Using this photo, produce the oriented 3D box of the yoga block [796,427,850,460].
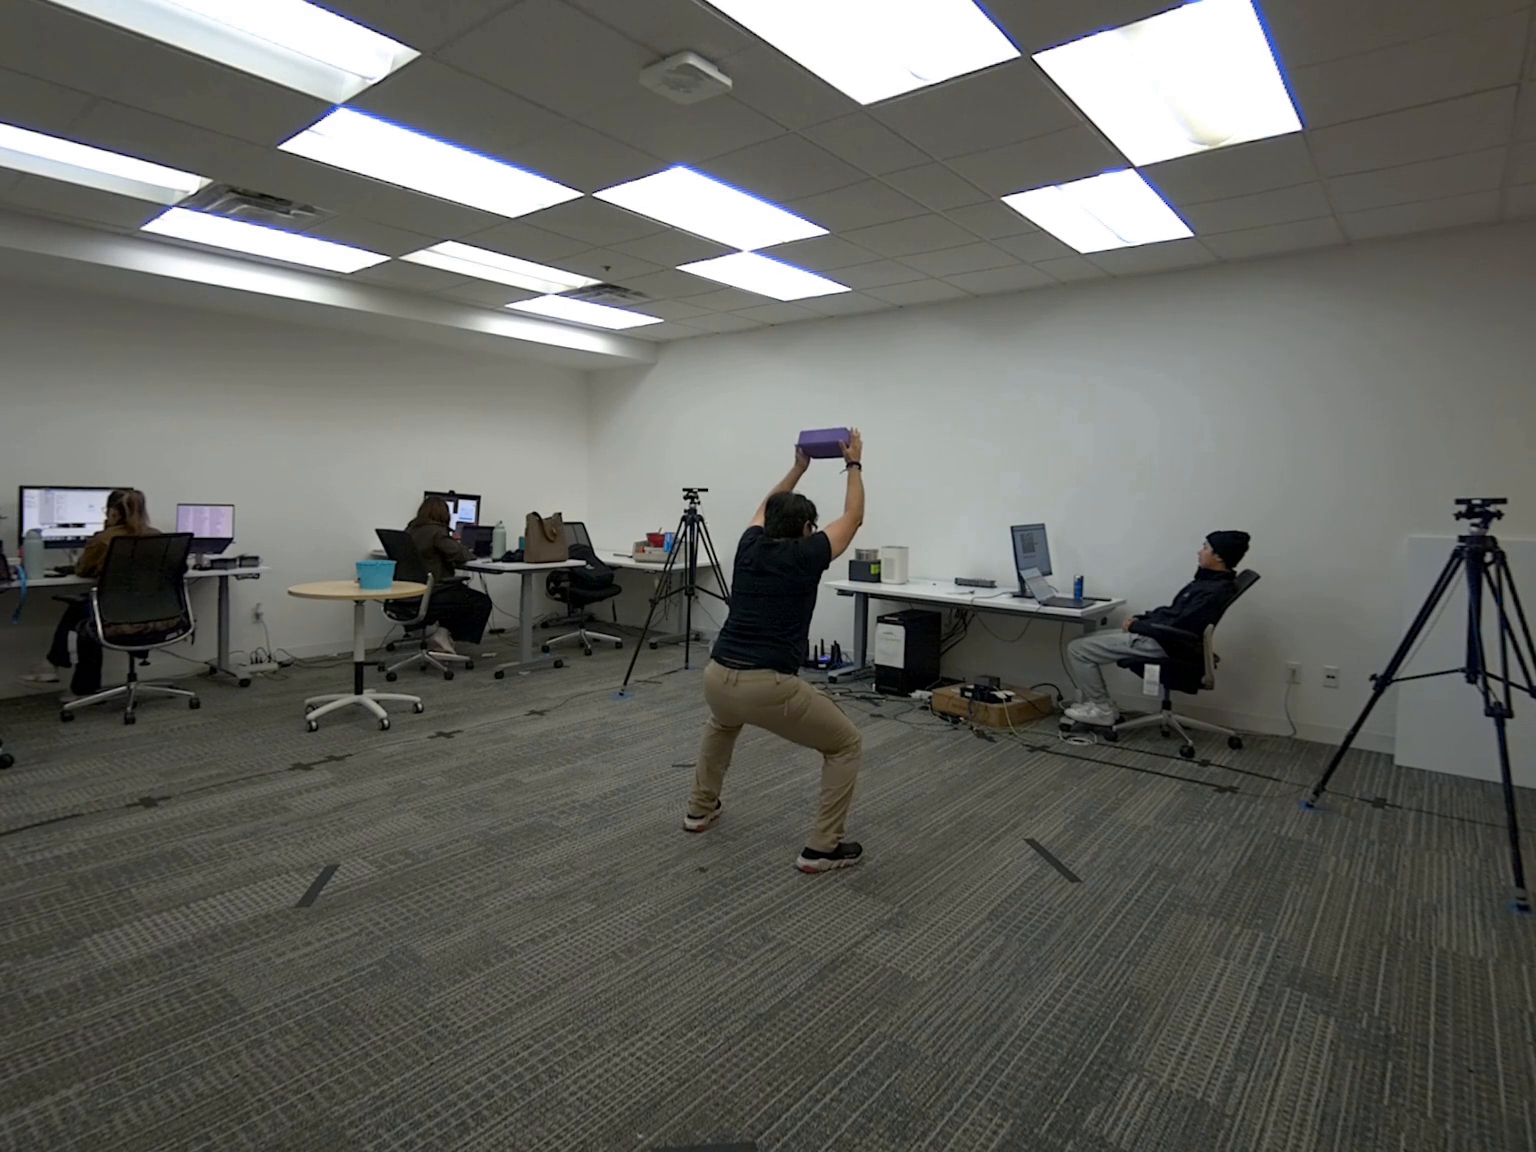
[{"bbox_3d":[0.248,-0.575,3.630,0.236,0.077,0.143,1,-21,35],"label":"yoga block"}]
